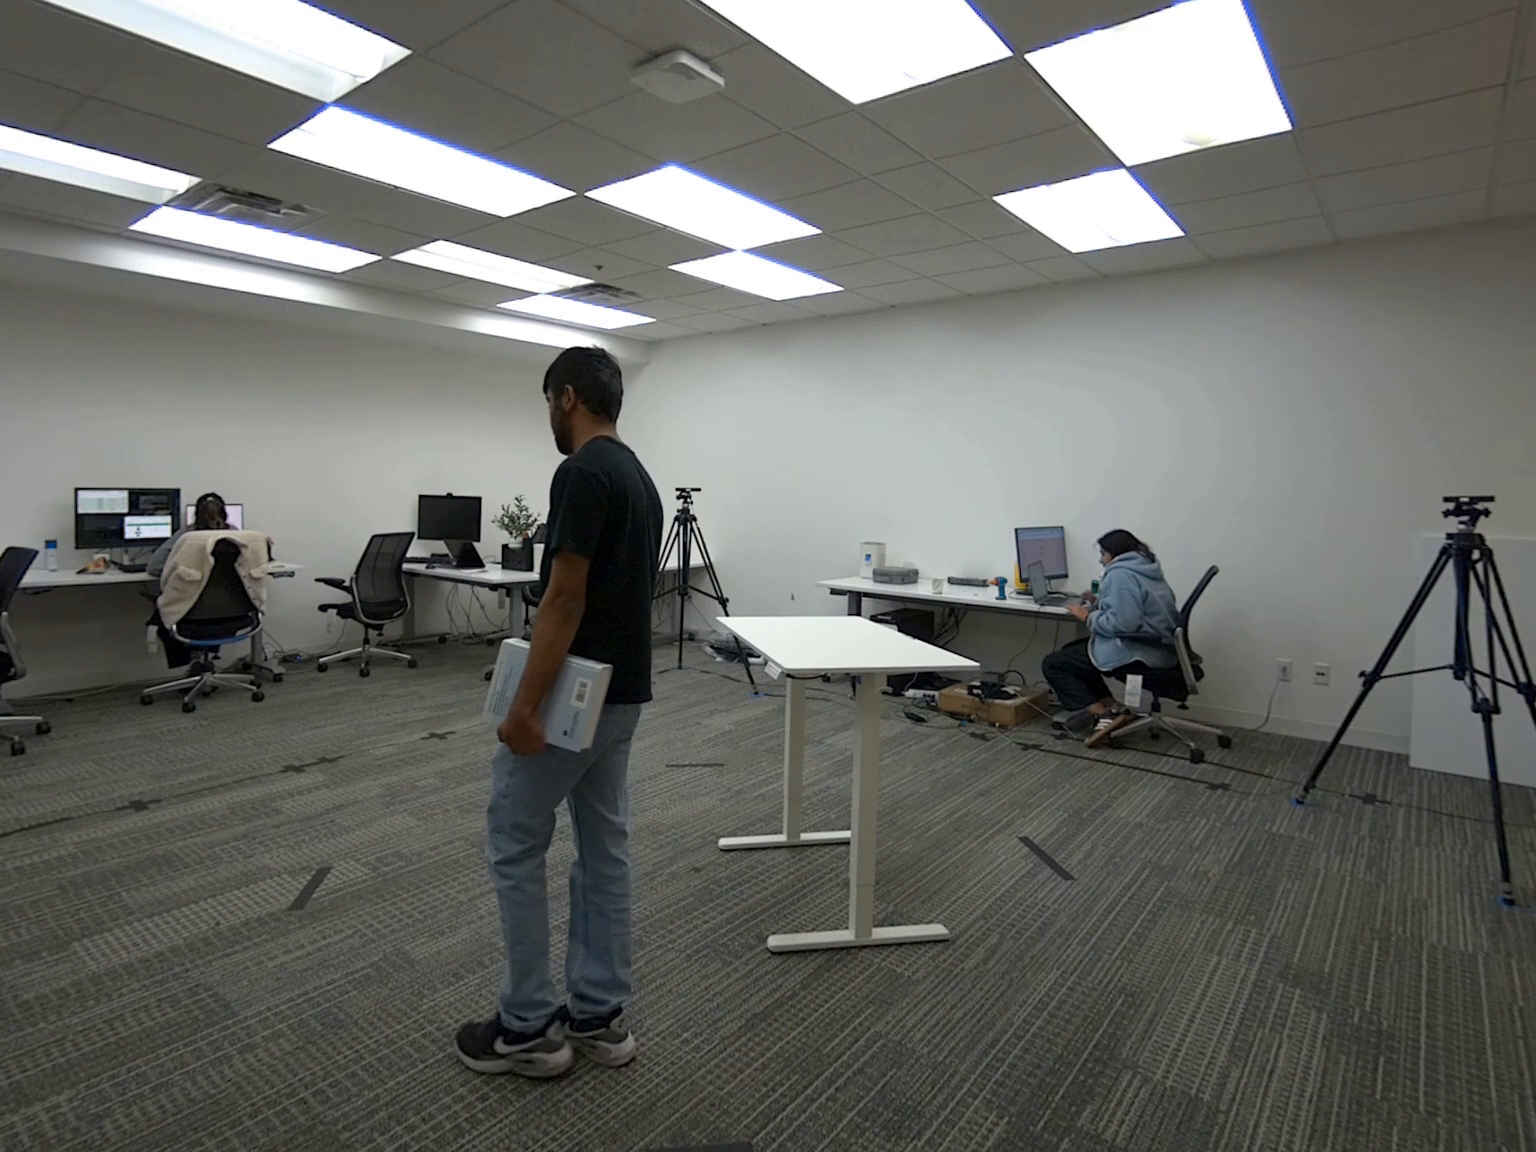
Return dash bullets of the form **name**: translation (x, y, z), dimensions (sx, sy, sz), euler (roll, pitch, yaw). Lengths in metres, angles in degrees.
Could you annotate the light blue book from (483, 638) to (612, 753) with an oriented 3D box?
- **light blue book**: translation (-0.496, 0.259, 1.909), dimensions (0.266, 0.192, 0.057), euler (11, -7, 16)
